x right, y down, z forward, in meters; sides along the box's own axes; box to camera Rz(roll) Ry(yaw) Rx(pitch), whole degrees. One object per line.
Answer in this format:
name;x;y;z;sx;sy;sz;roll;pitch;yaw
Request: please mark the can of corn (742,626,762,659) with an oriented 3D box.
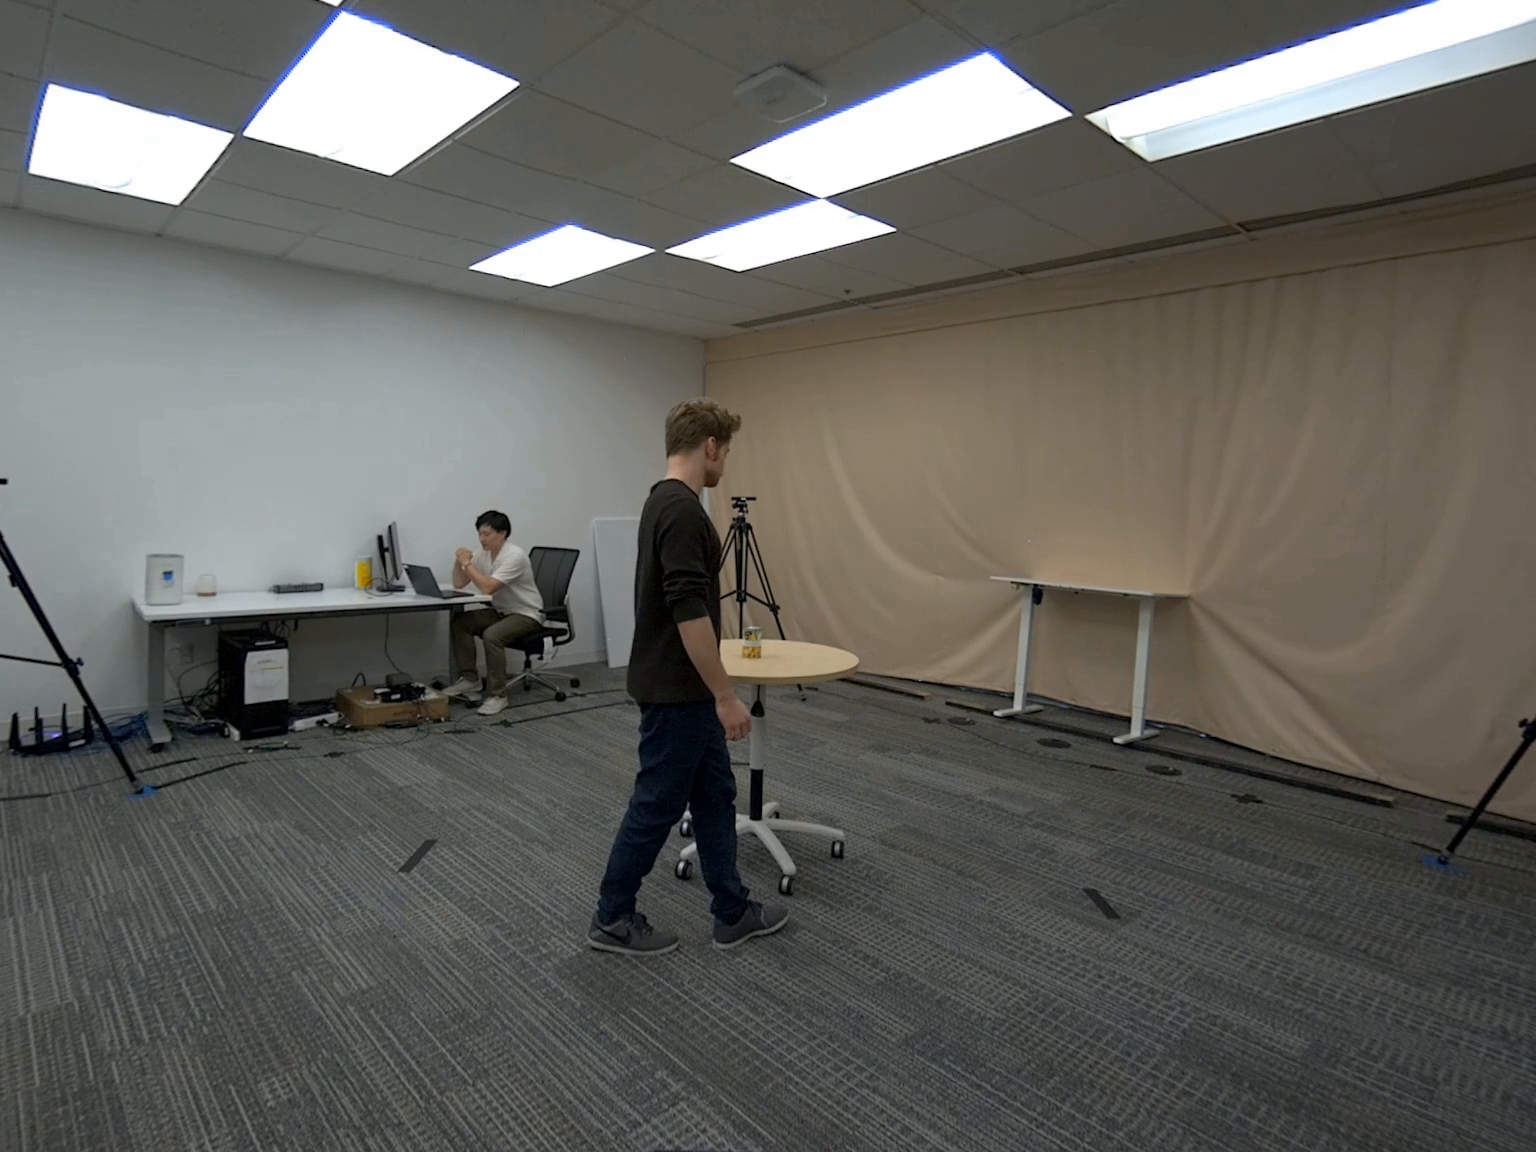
can of corn;-0.067;0.256;3.242;0.074;0.110;0.074;2;6;-2
